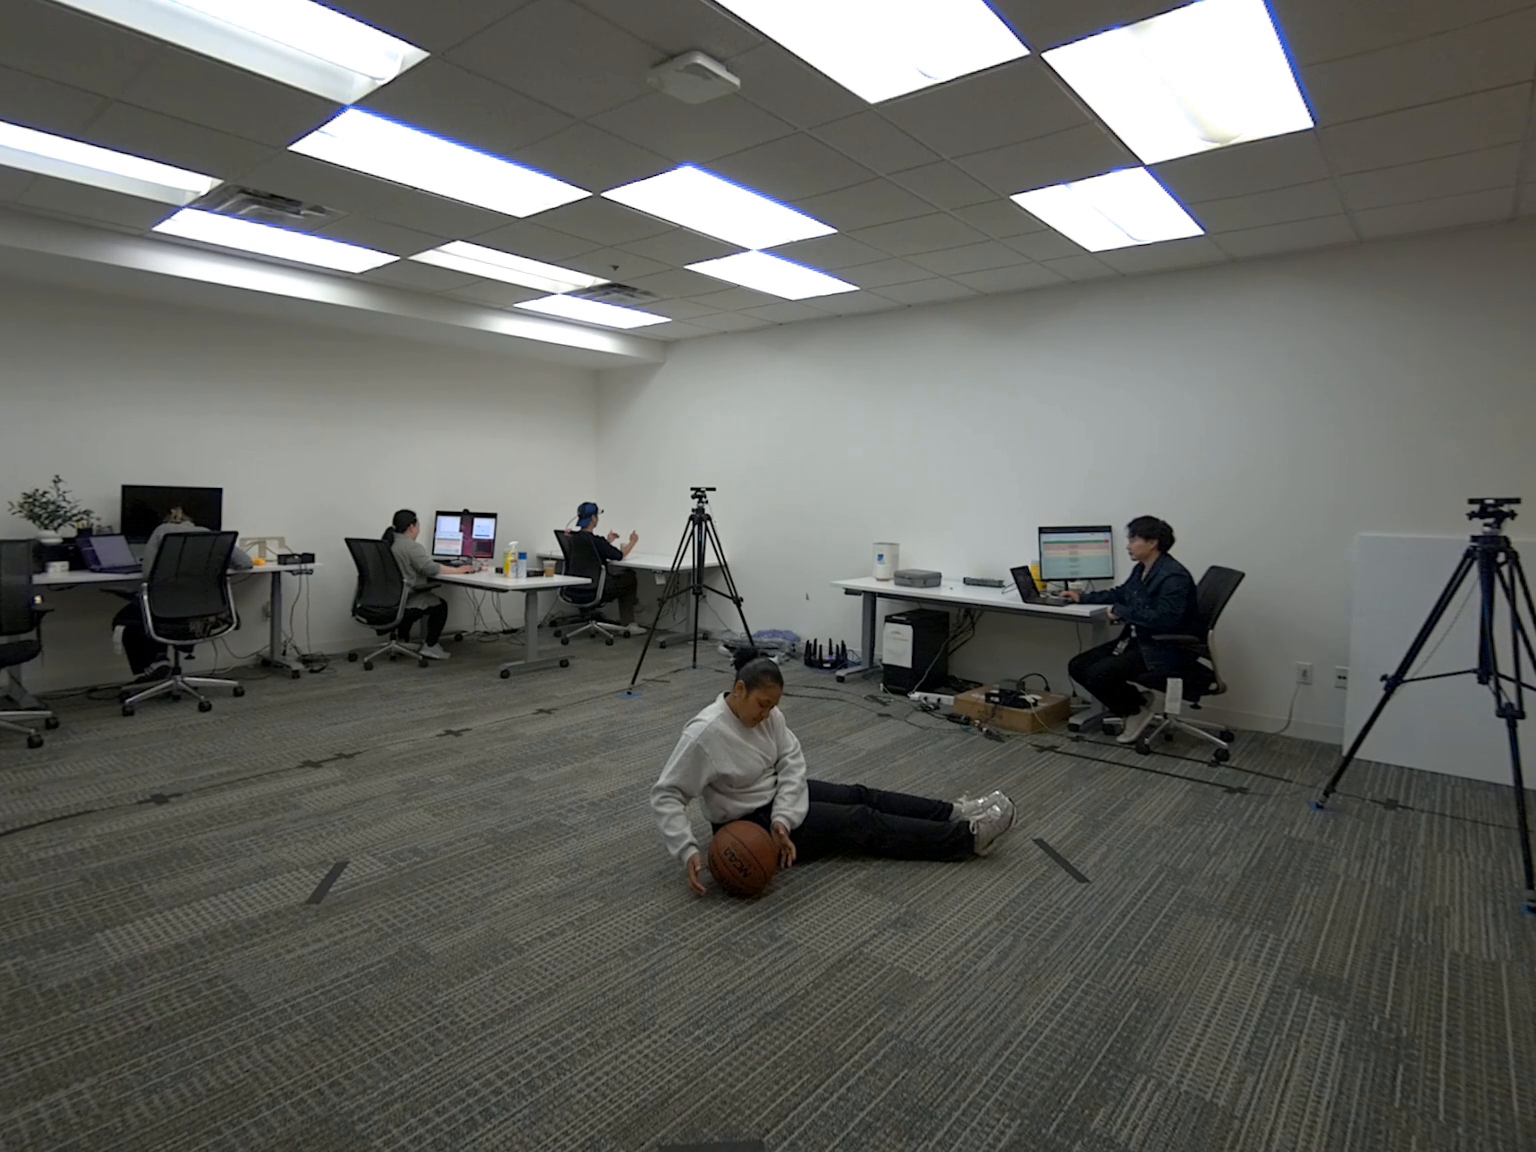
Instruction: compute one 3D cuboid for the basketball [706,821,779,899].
[{"bbox_3d":[-0.096,0.960,2.933,0.235,0.235,0.237,1,4,-2],"label":"basketball"}]
